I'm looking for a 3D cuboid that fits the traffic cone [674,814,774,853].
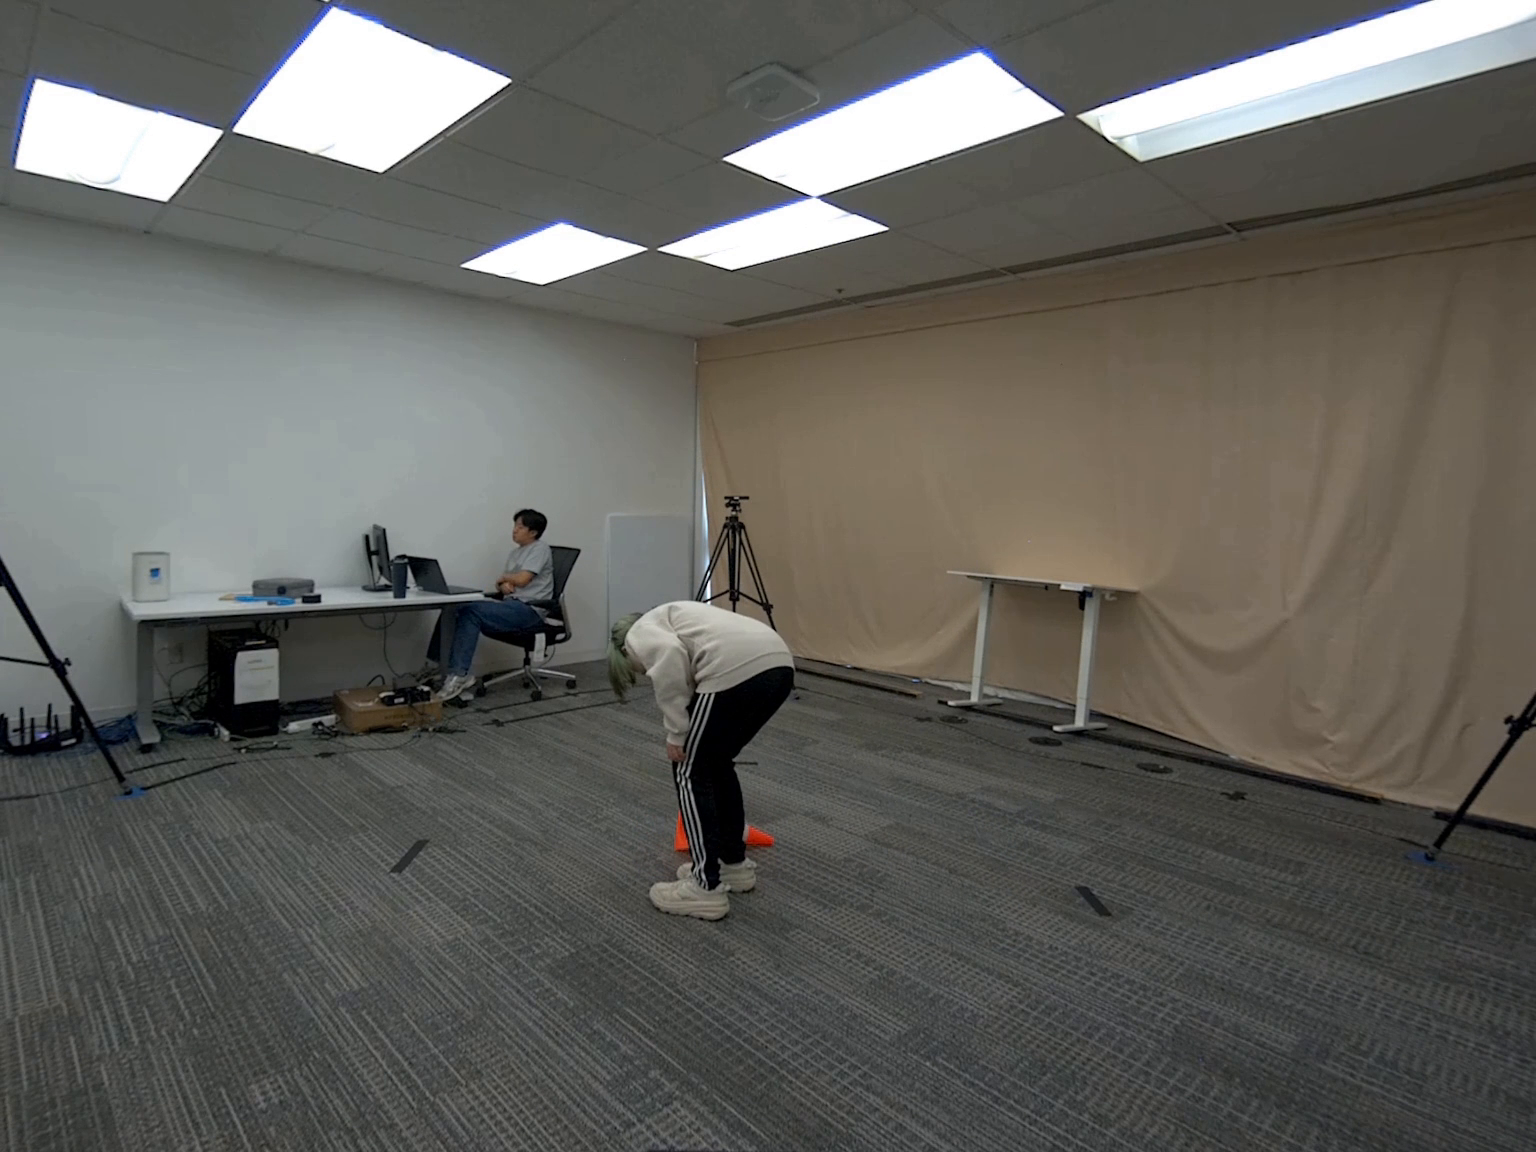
[{"bbox_3d":[-0.159,1.020,3.340,0.377,0.207,0.204,18,-25,-19],"label":"traffic cone"}]
